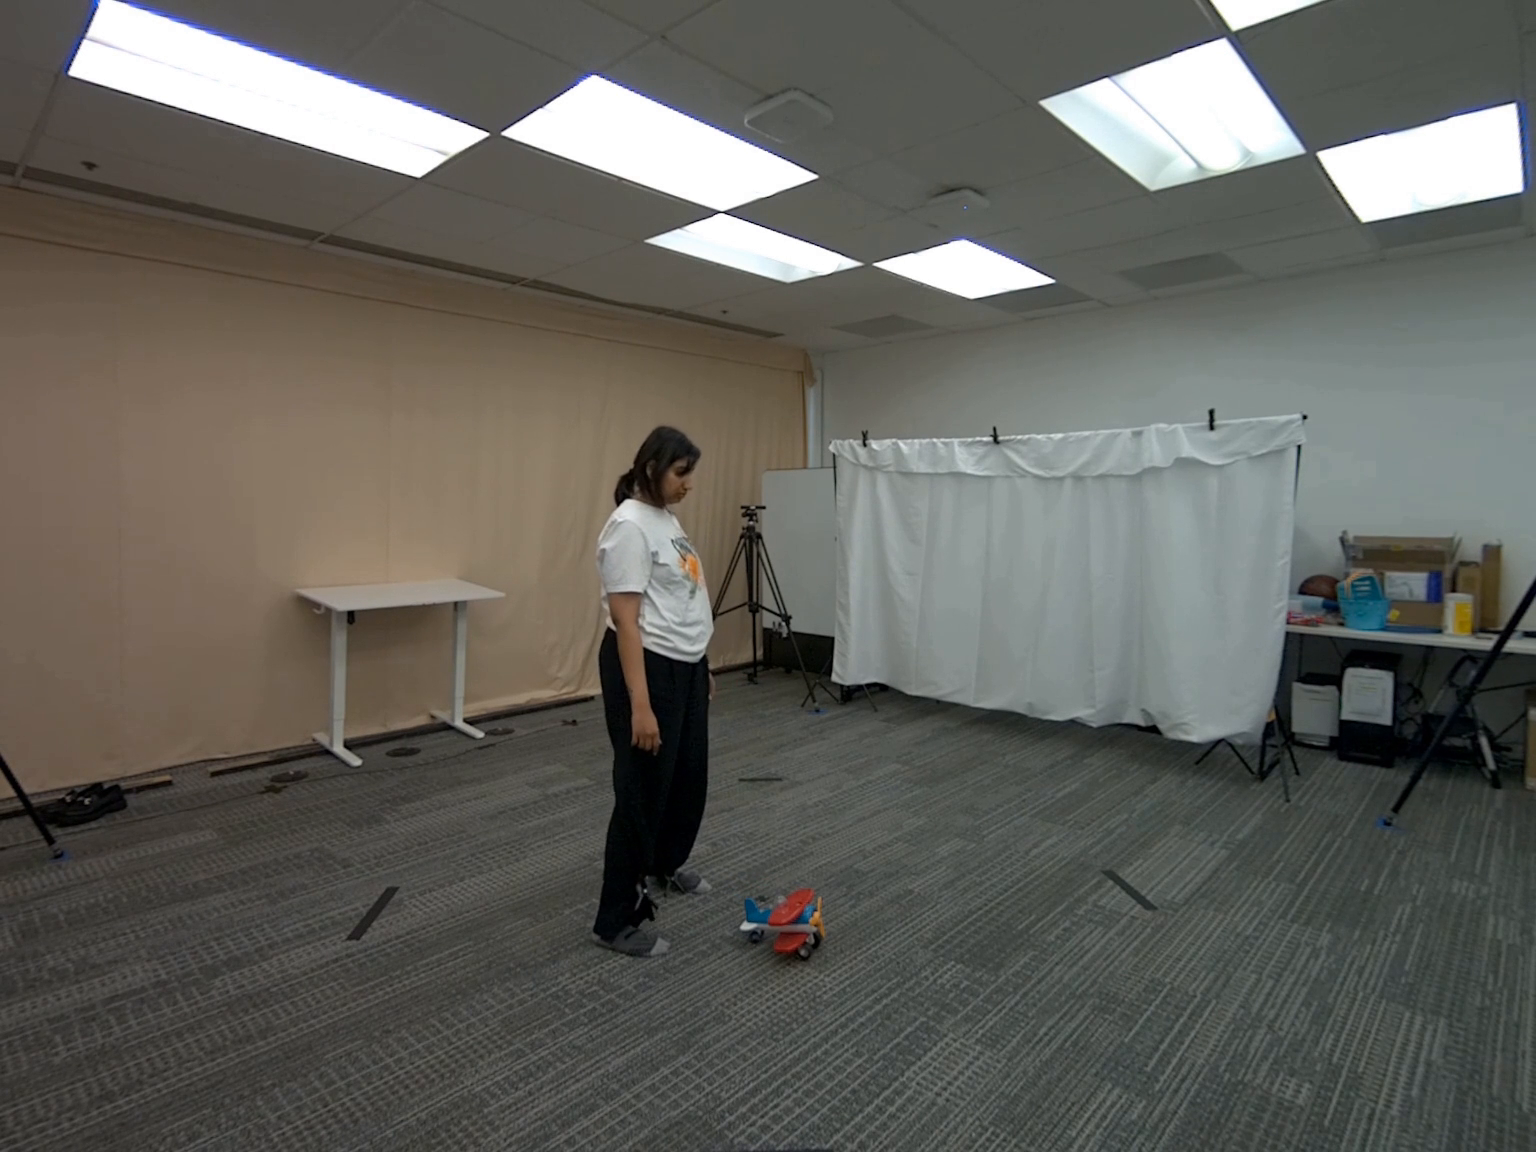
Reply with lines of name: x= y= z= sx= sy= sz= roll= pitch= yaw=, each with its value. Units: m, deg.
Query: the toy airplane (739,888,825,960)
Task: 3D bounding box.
toy airplane: x=0.046 y=1.099 z=2.632 sx=0.258 sy=0.156 sz=0.252 roll=0 pitch=4 yaw=-4
